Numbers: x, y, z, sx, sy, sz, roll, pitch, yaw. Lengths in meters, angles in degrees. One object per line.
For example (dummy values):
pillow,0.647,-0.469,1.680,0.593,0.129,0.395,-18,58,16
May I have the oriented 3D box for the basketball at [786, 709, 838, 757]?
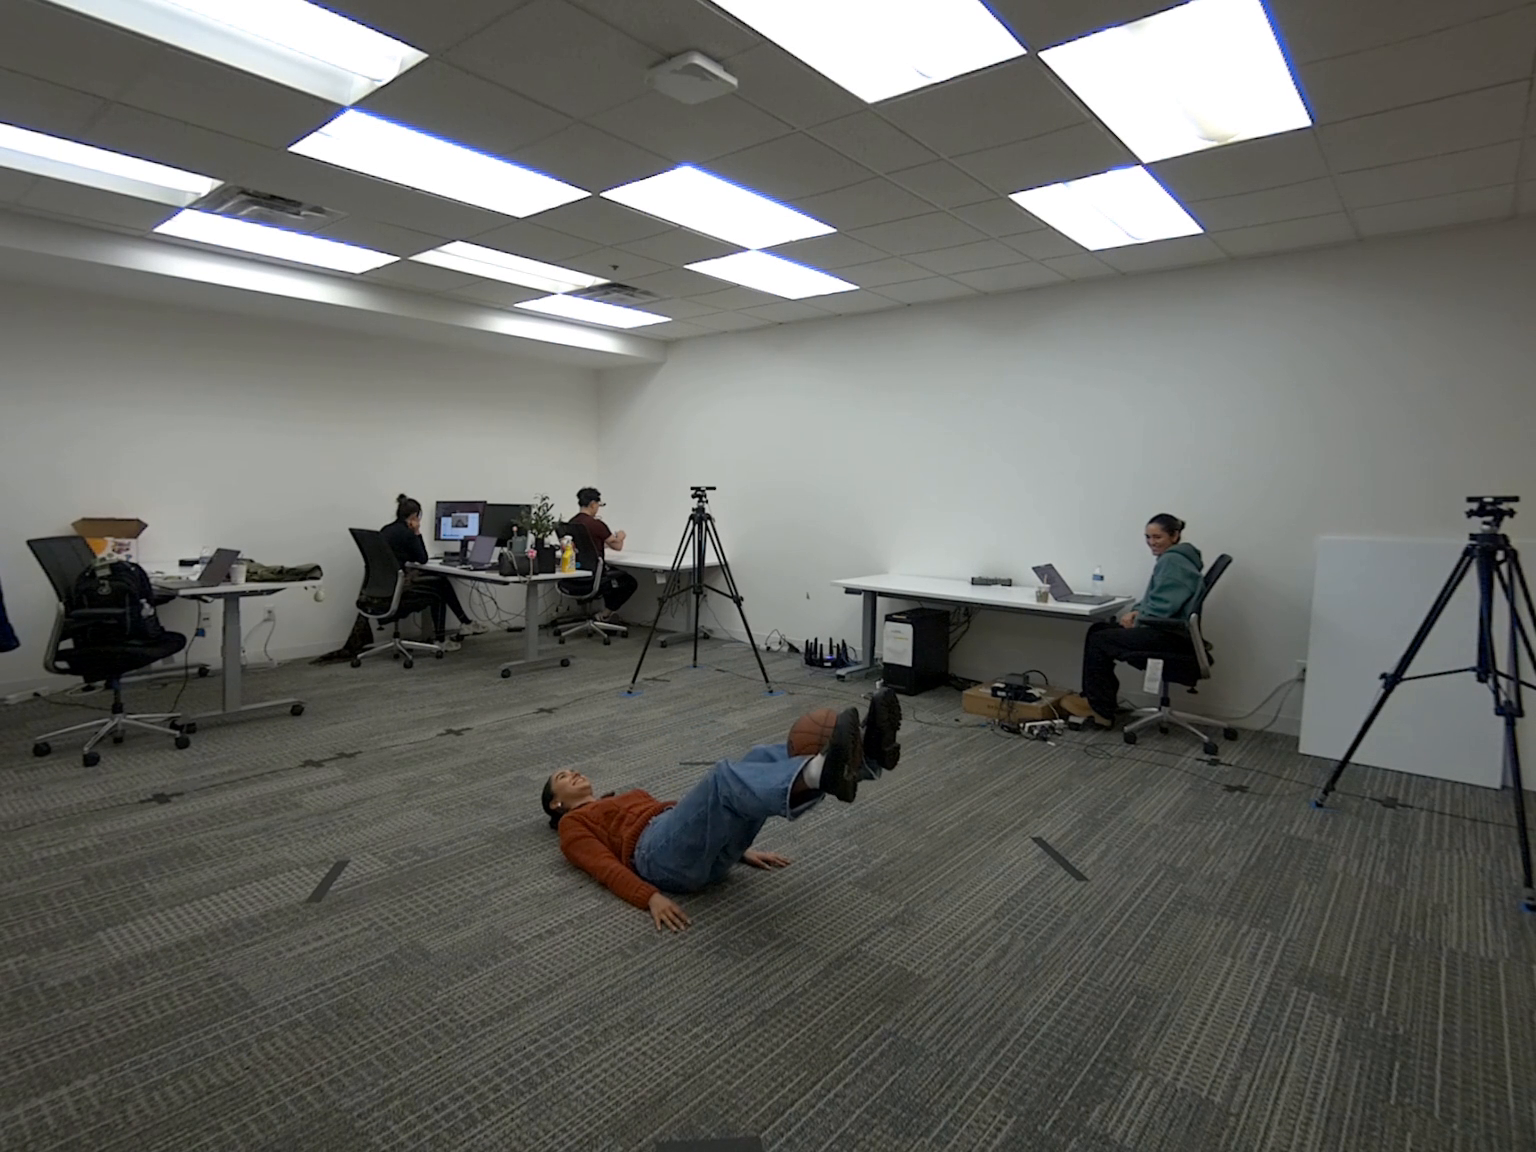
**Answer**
basketball,0.171,0.535,2.680,0.236,0.235,0.237,1,4,-2
